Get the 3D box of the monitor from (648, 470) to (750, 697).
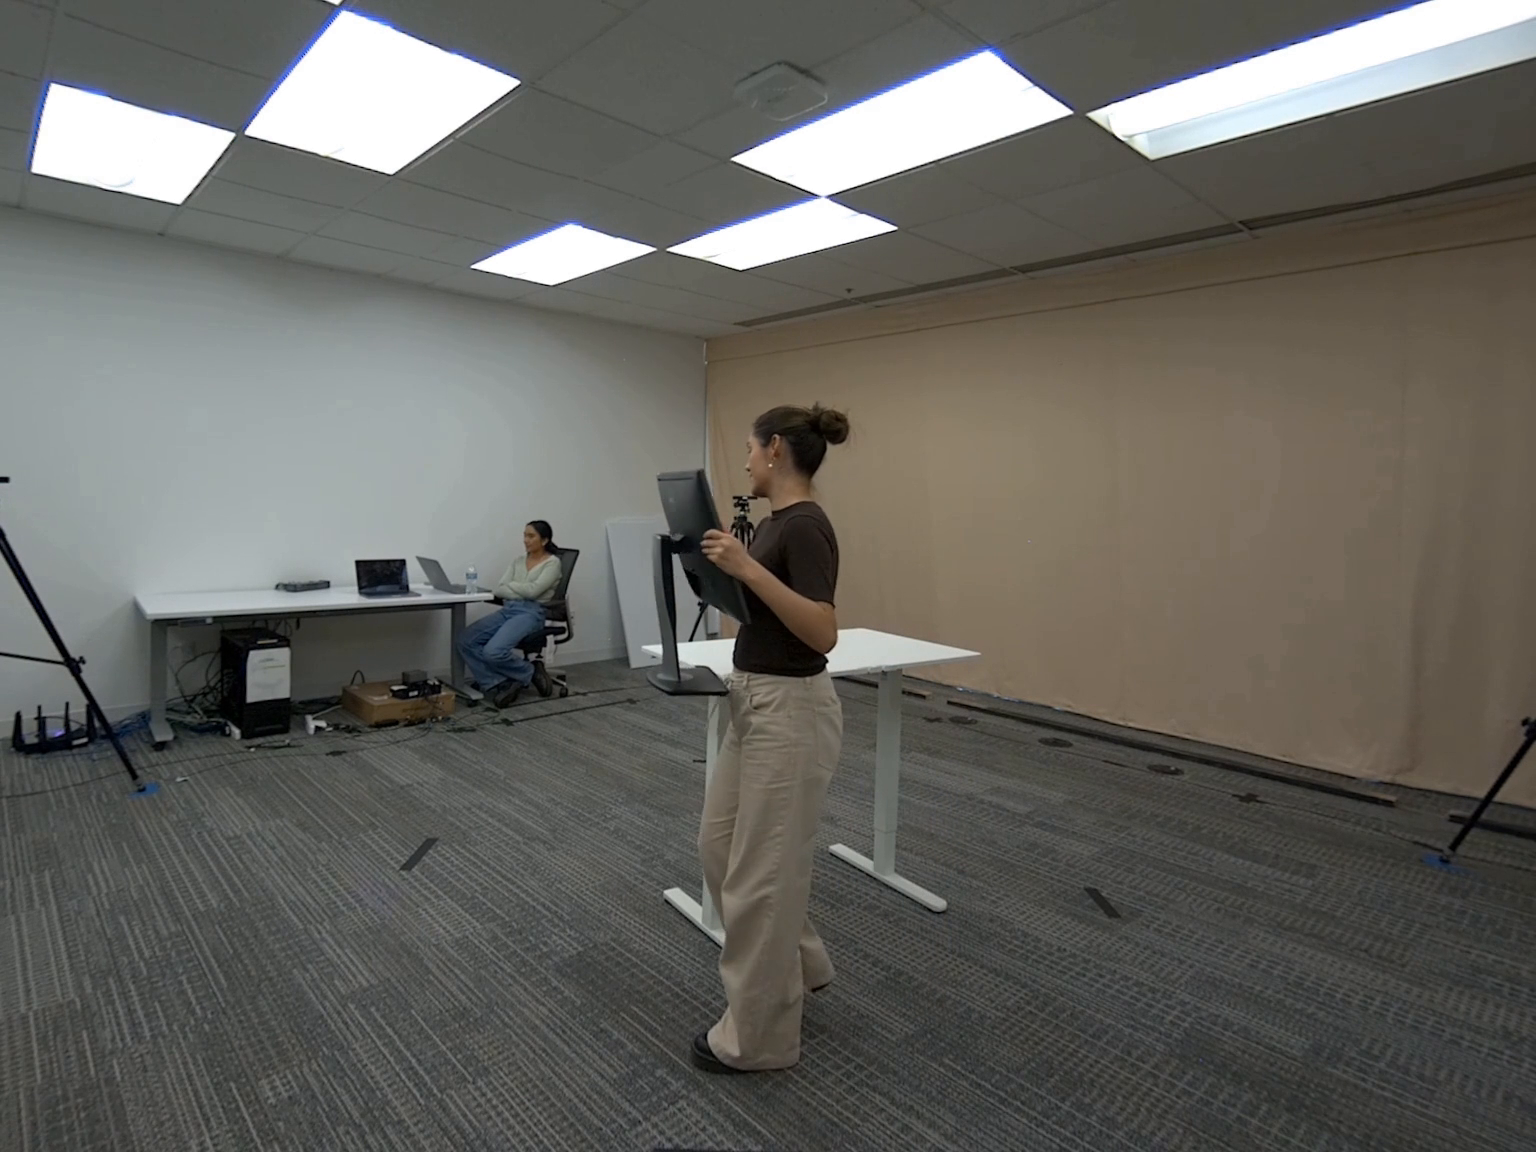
[{"bbox_3d":[-0.199,0.010,2.055,0.185,0.521,0.548,-4,5,-19],"label":"monitor"}]
